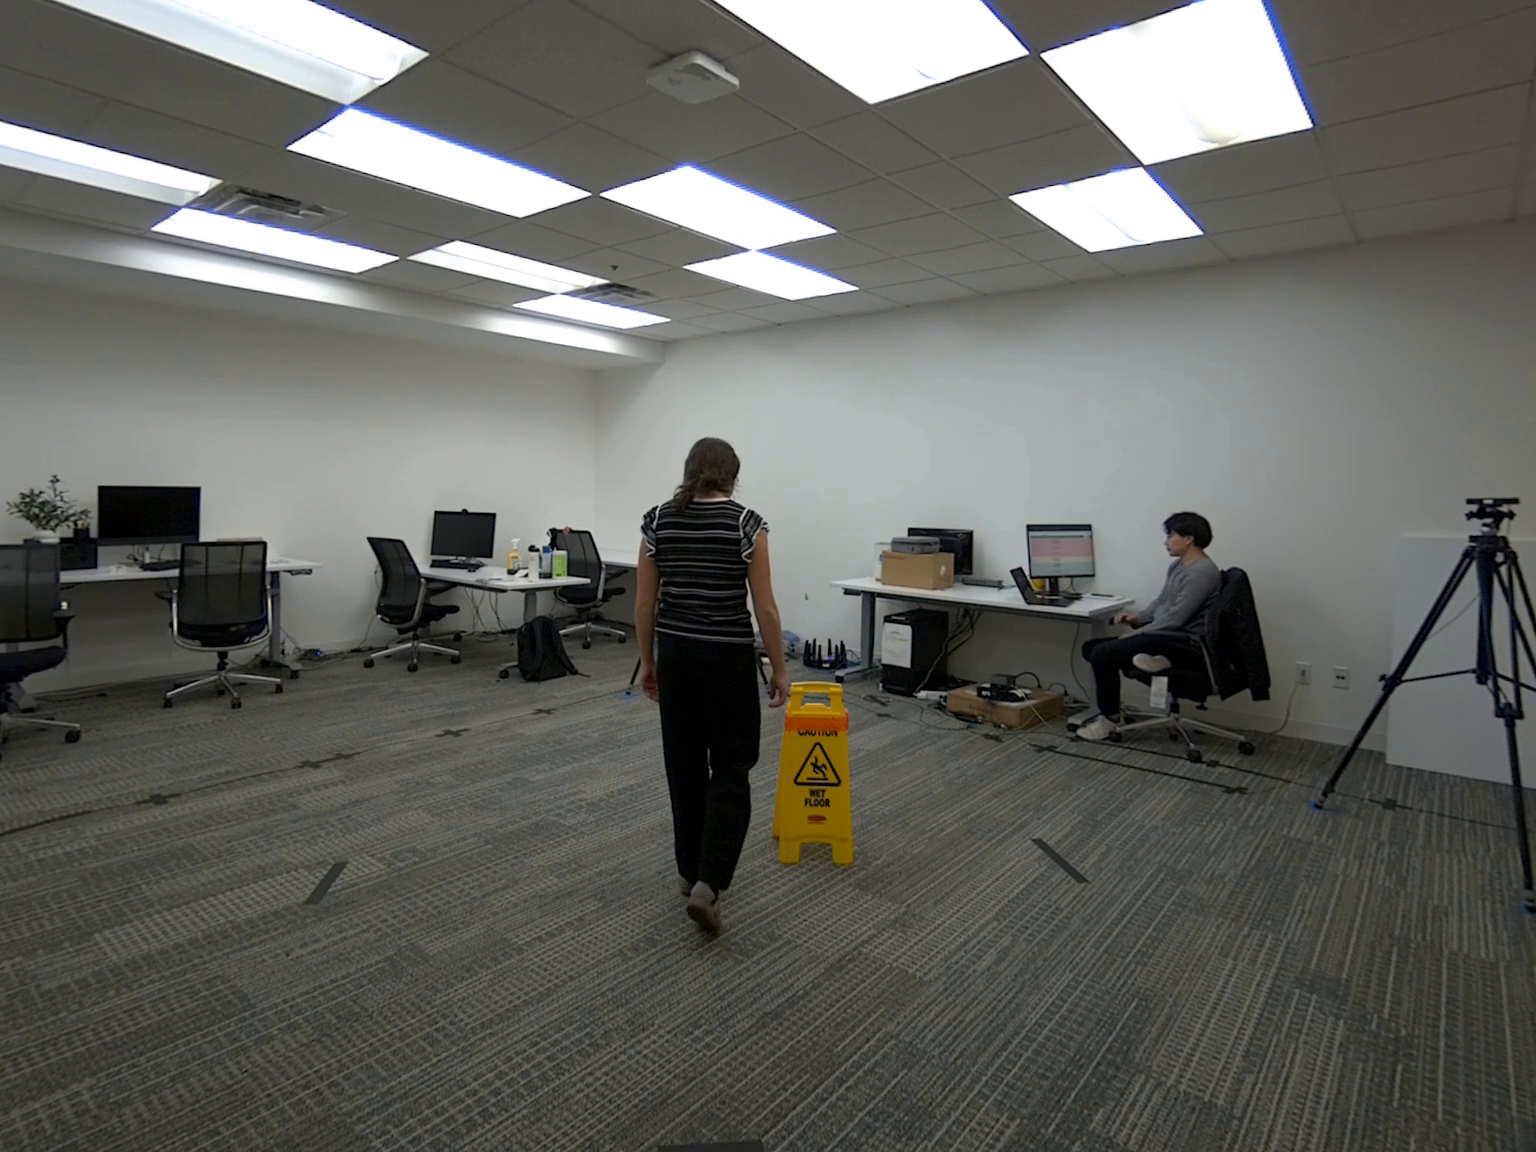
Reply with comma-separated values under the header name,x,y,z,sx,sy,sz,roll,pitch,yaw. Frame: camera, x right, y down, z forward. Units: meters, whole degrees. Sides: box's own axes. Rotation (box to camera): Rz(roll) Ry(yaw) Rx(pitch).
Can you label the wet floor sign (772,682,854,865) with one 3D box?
name,x,y,z,sx,sy,sz,roll,pitch,yaw
wet floor sign,0.166,0.735,3.275,0.281,0.643,0.292,0,4,-4
